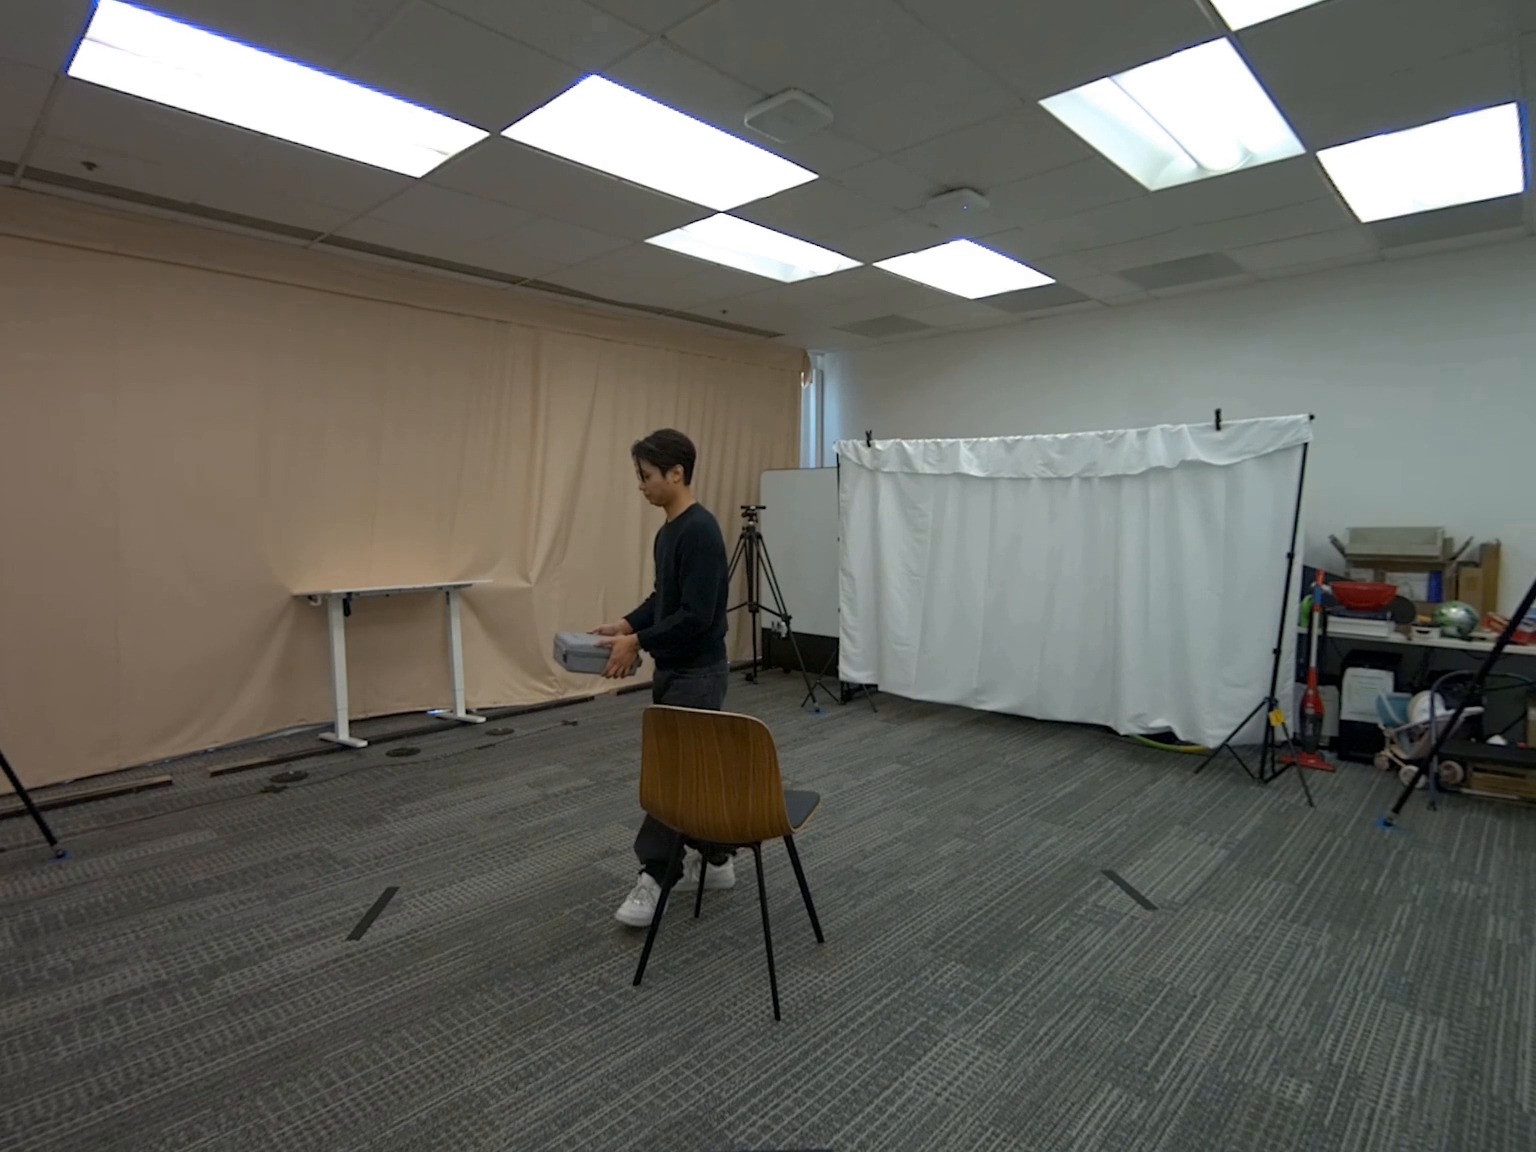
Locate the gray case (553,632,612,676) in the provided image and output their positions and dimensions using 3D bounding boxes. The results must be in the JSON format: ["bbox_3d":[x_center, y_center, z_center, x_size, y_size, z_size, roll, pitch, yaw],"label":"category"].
[{"bbox_3d":[-0.584,0.269,2.888,0.255,0.104,0.262,7,1,-19],"label":"gray case"}]
